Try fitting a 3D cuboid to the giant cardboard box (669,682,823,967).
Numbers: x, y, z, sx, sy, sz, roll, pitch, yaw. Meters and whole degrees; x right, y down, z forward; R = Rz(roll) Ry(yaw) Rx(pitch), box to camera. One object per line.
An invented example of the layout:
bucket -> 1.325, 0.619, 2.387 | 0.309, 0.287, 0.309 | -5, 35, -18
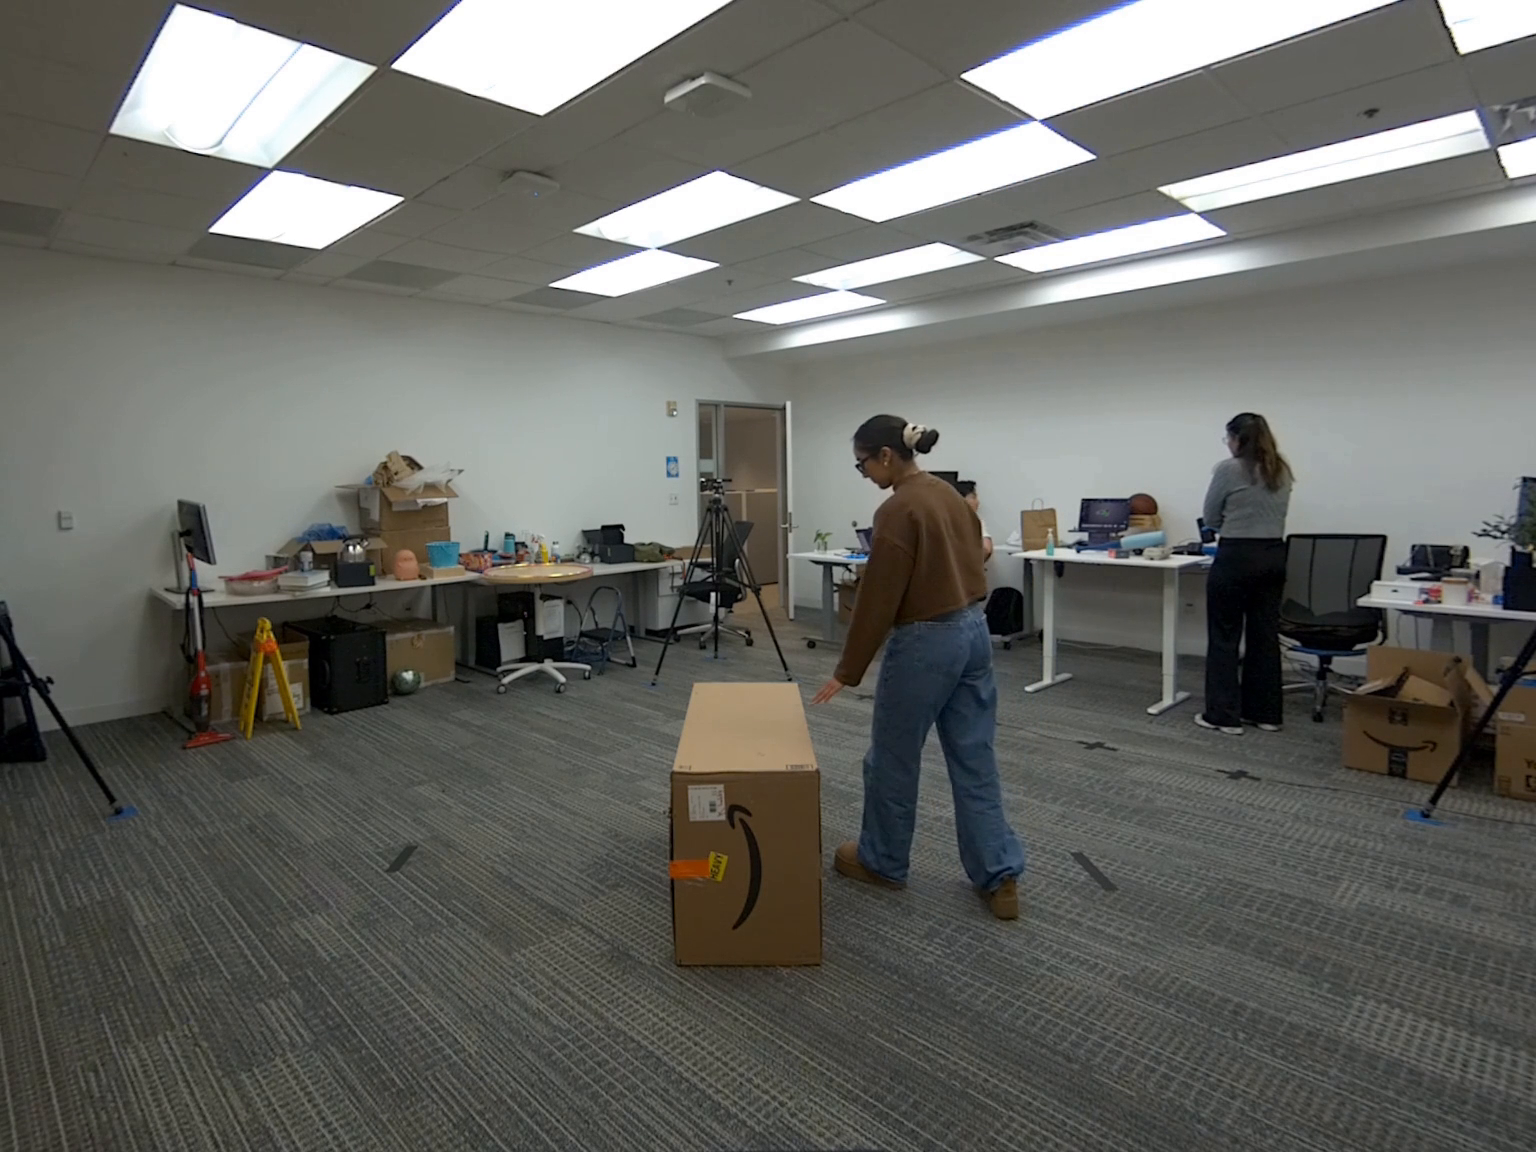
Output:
giant cardboard box -> -0.075, 0.778, 2.940 | 0.447, 0.581, 1.031 | 1, 6, -1
